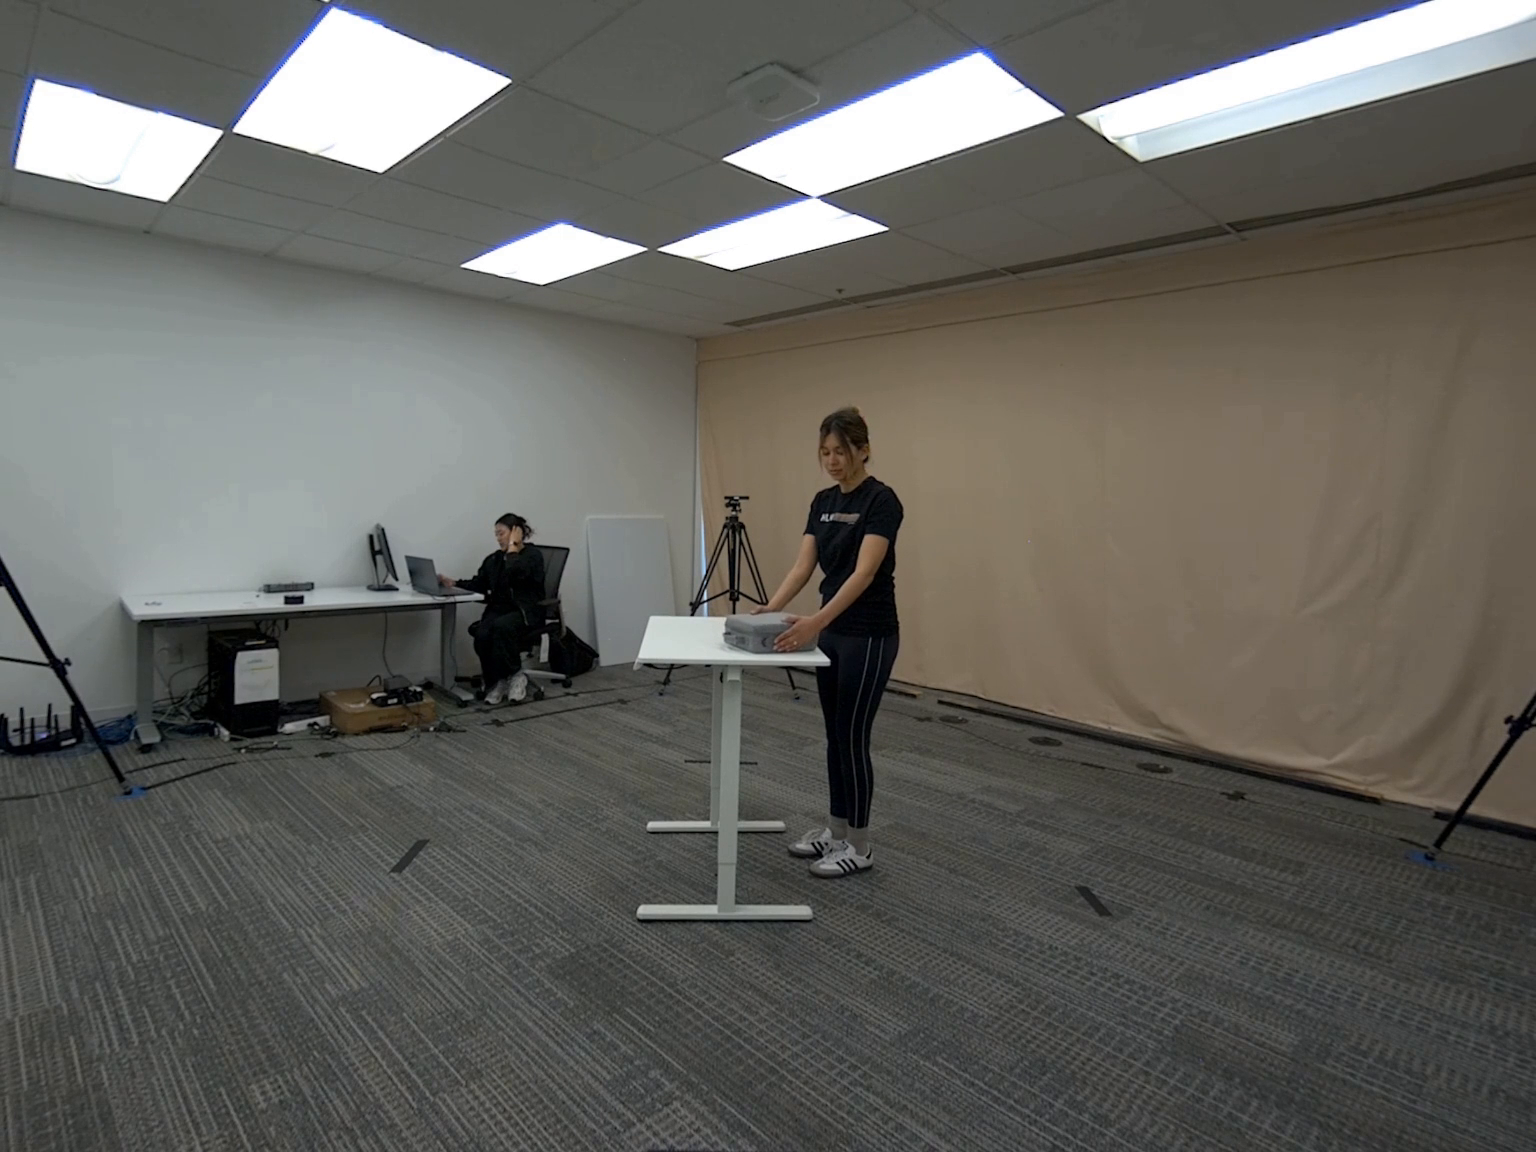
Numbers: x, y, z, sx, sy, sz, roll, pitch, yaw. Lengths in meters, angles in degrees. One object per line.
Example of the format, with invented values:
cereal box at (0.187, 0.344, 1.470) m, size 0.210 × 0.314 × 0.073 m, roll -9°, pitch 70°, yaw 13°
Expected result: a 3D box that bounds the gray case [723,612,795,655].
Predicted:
gray case at (-0.005, 0.195, 2.866) m, size 0.256 × 0.104 × 0.262 m, roll -1°, pitch 6°, yaw -24°
